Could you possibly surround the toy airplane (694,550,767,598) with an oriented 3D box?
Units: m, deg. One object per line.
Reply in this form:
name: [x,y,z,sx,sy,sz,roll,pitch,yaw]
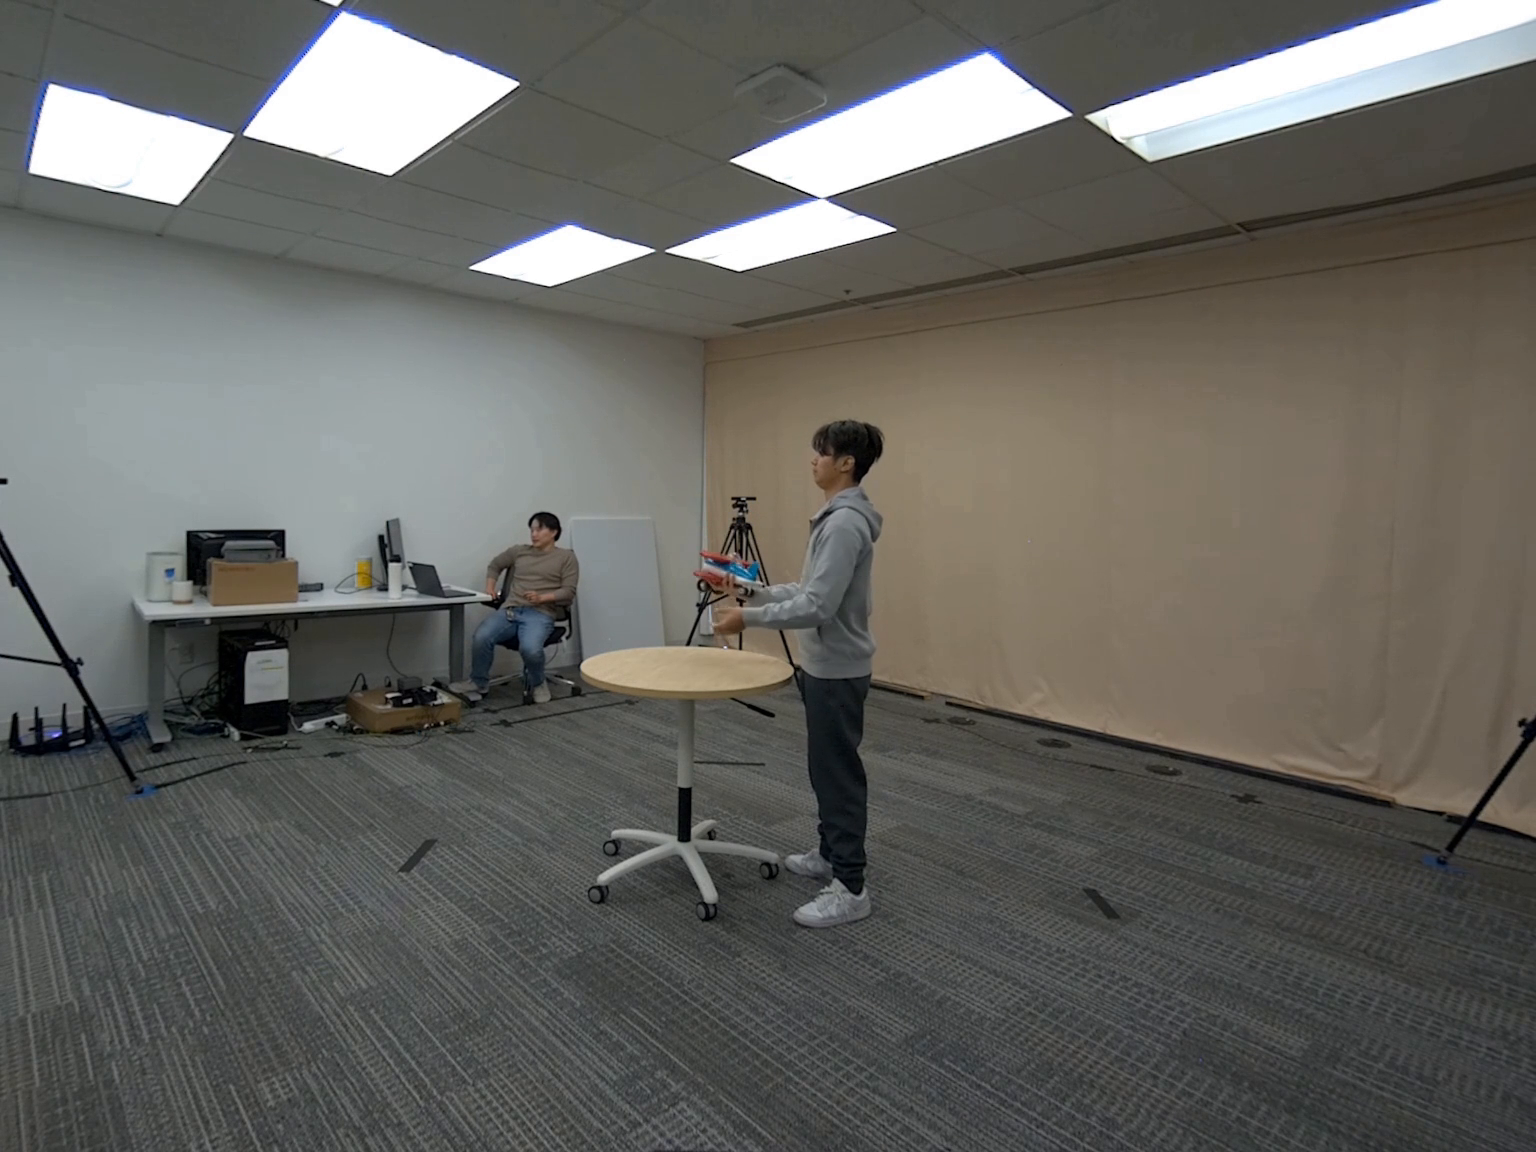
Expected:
toy airplane: [-0.135,-0.015,3.181,0.262,0.157,0.248,6,-5,10]
